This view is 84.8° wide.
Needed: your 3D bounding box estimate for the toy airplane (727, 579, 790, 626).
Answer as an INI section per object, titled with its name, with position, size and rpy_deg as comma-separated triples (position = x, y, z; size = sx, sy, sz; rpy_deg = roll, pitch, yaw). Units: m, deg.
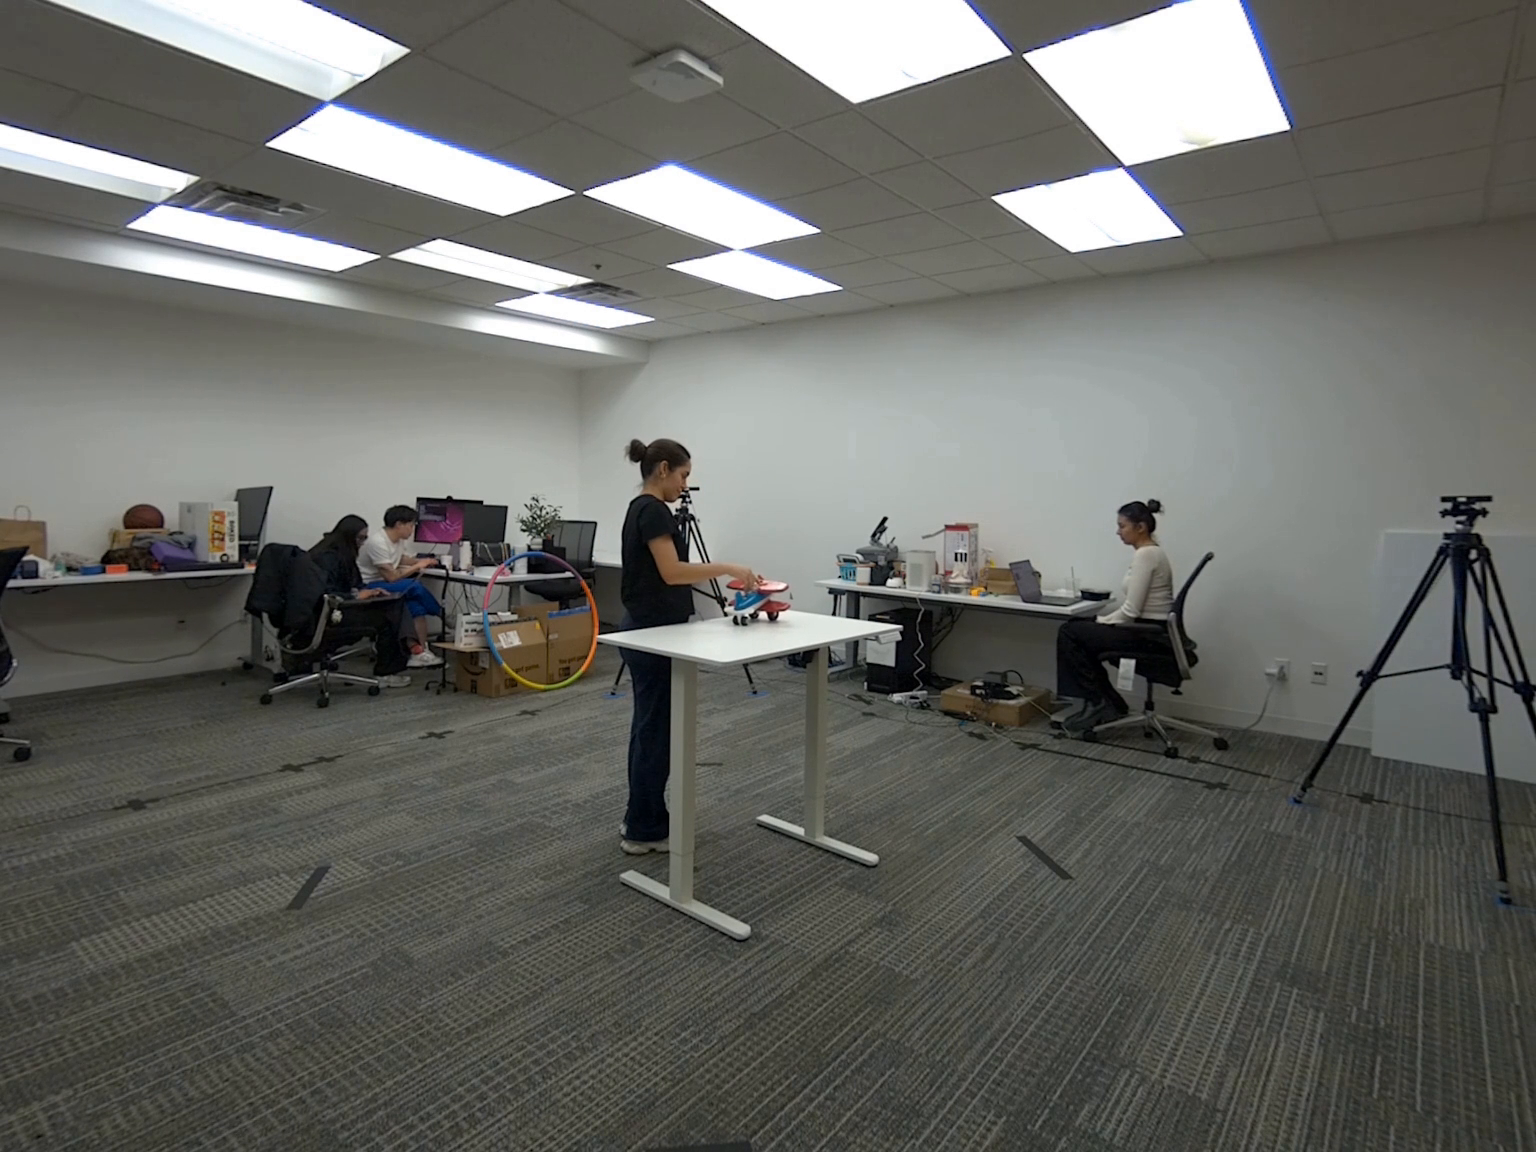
[toy airplane]
position = -0.022, 0.099, 3.249
size = 0.252, 0.156, 0.259
rpy_deg = 2, 5, 1
